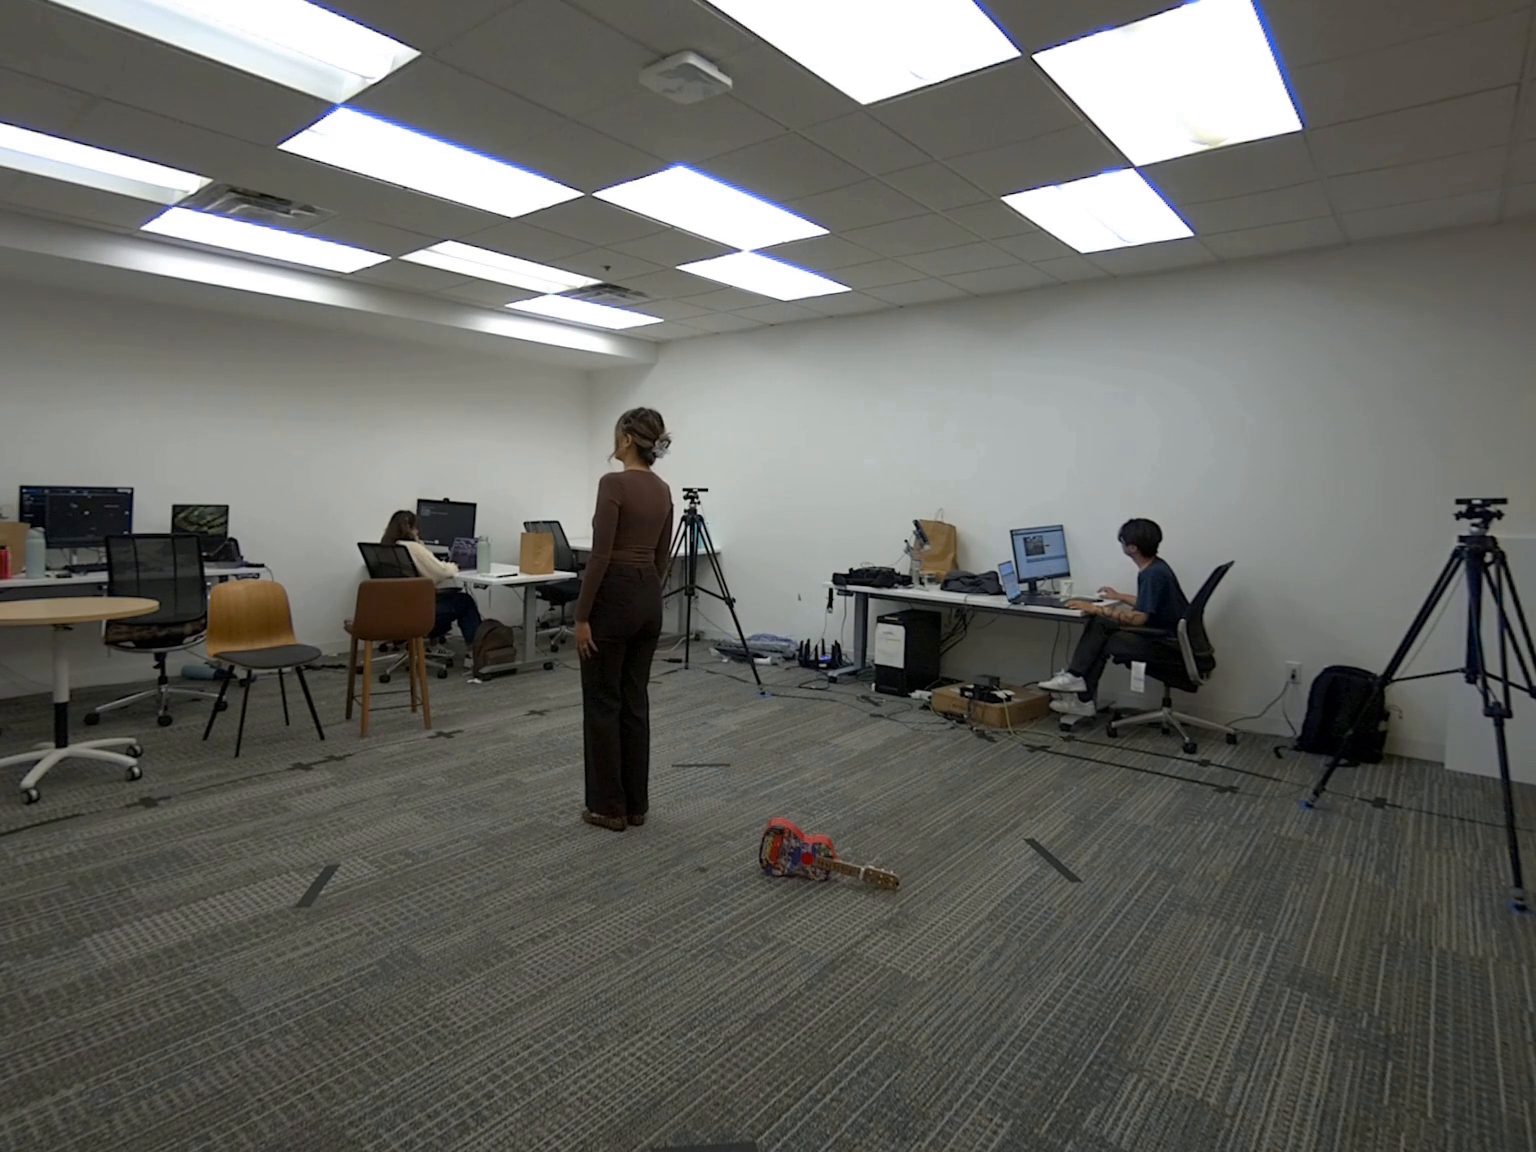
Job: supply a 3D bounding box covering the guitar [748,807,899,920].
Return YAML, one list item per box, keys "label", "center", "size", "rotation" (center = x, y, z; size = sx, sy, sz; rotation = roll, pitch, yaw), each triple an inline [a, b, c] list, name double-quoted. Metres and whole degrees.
- label: "guitar"
  center: [0.198, 1.035, 3.044]
  size: [0.504, 0.192, 0.070]
  rotation: [20, 6, 9]
